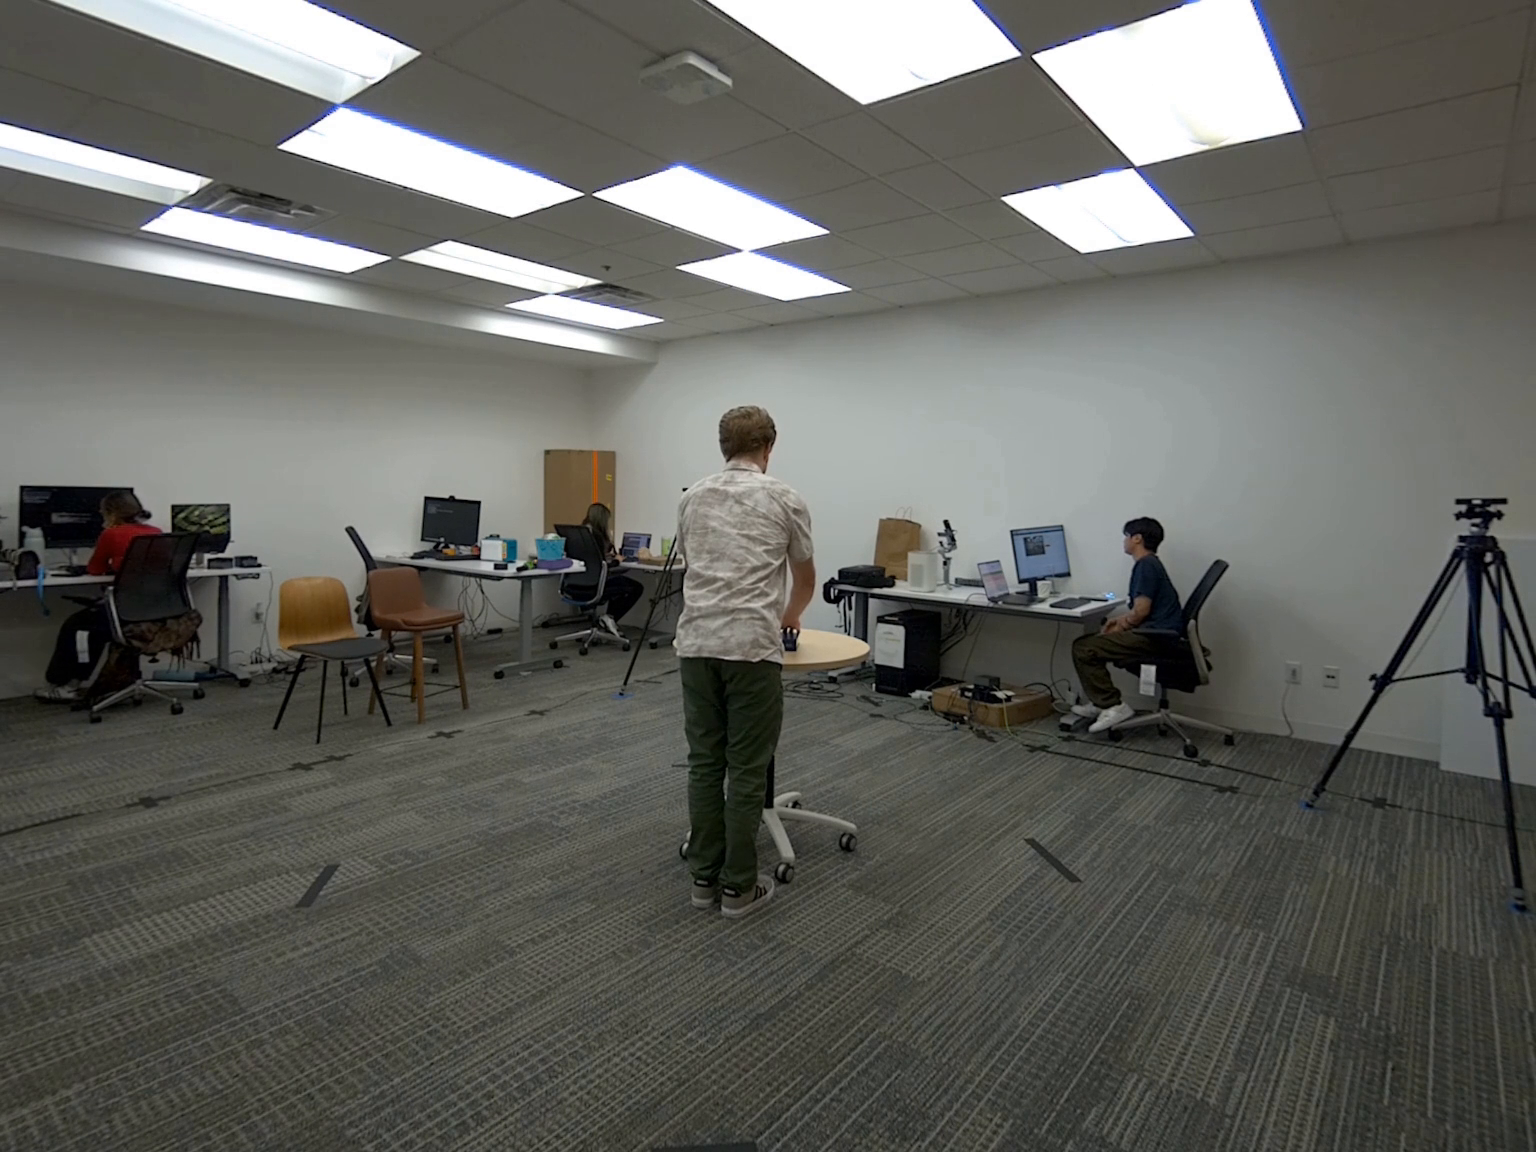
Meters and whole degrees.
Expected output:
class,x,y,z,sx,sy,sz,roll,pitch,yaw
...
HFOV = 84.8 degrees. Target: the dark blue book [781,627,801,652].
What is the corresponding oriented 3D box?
class,x,y,z,sx,sy,sz,roll,pitch,yaw
dark blue book,-0.009,0.244,3.273,0.247,0.045,0.163,1,6,7
